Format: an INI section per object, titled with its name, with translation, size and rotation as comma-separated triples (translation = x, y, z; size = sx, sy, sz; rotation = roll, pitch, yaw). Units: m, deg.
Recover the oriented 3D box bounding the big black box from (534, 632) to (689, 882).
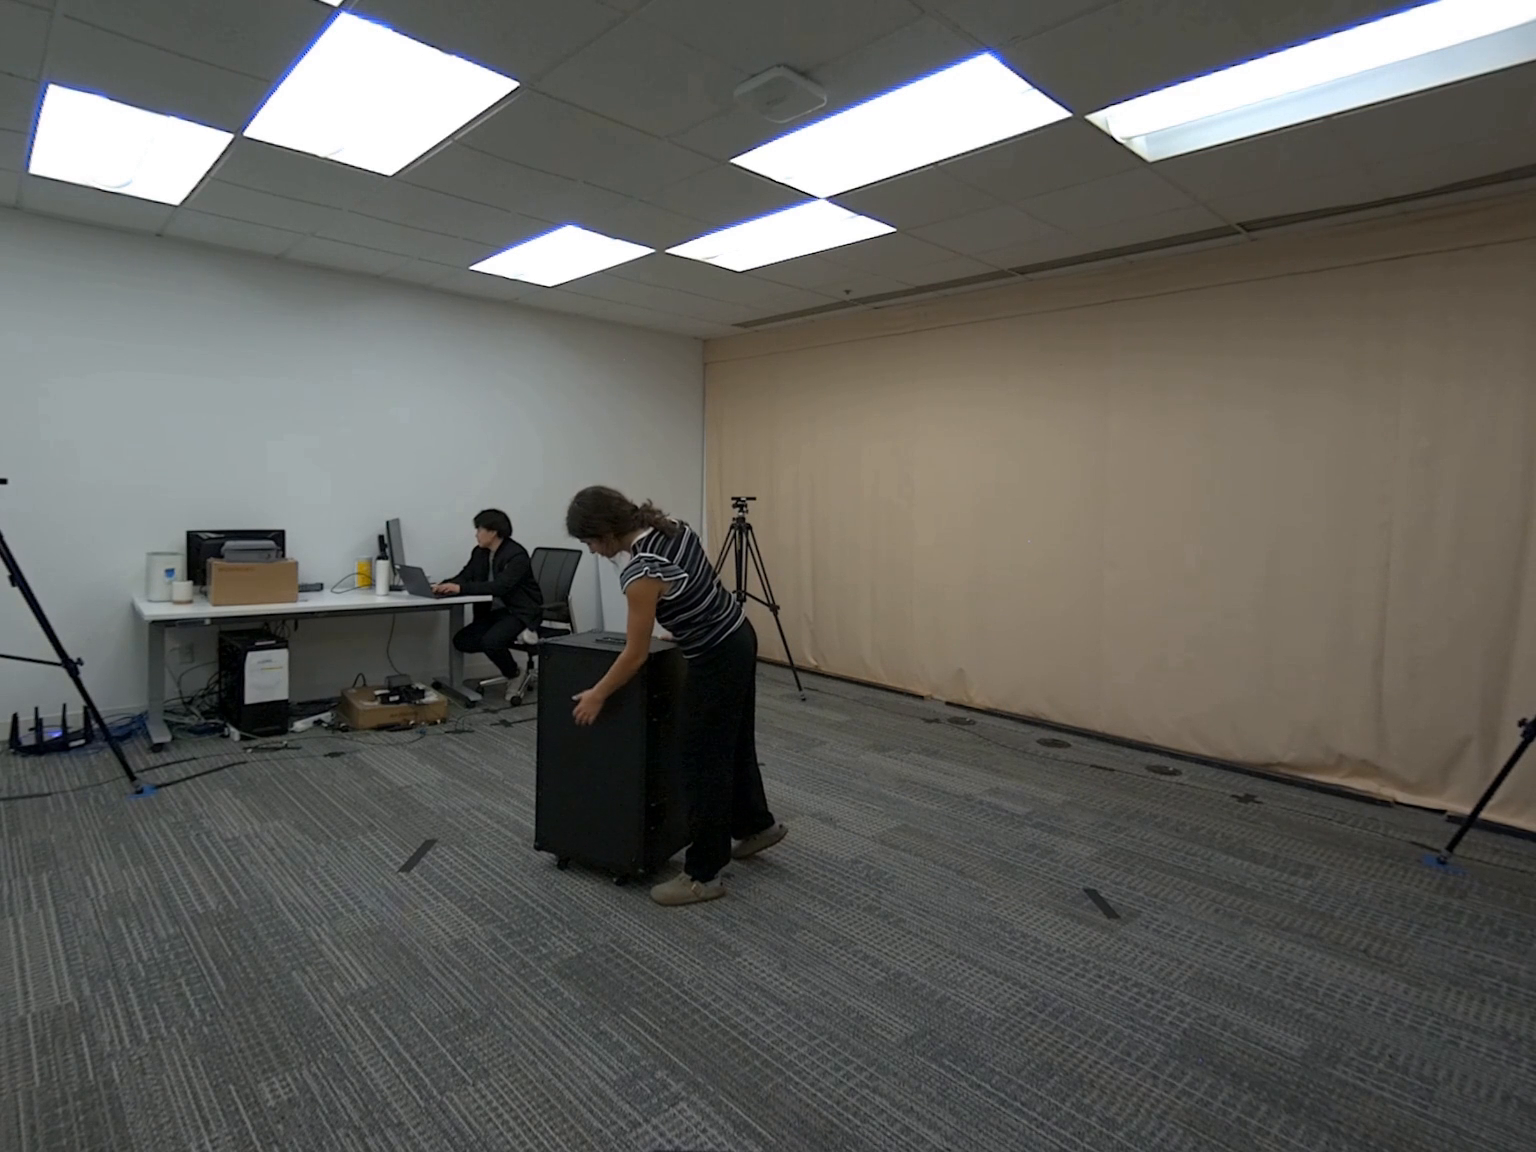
[big black box]
translation = -0.581, 0.667, 3.176
size = 0.531, 0.860, 0.389
rotation = 3, 2, 25
